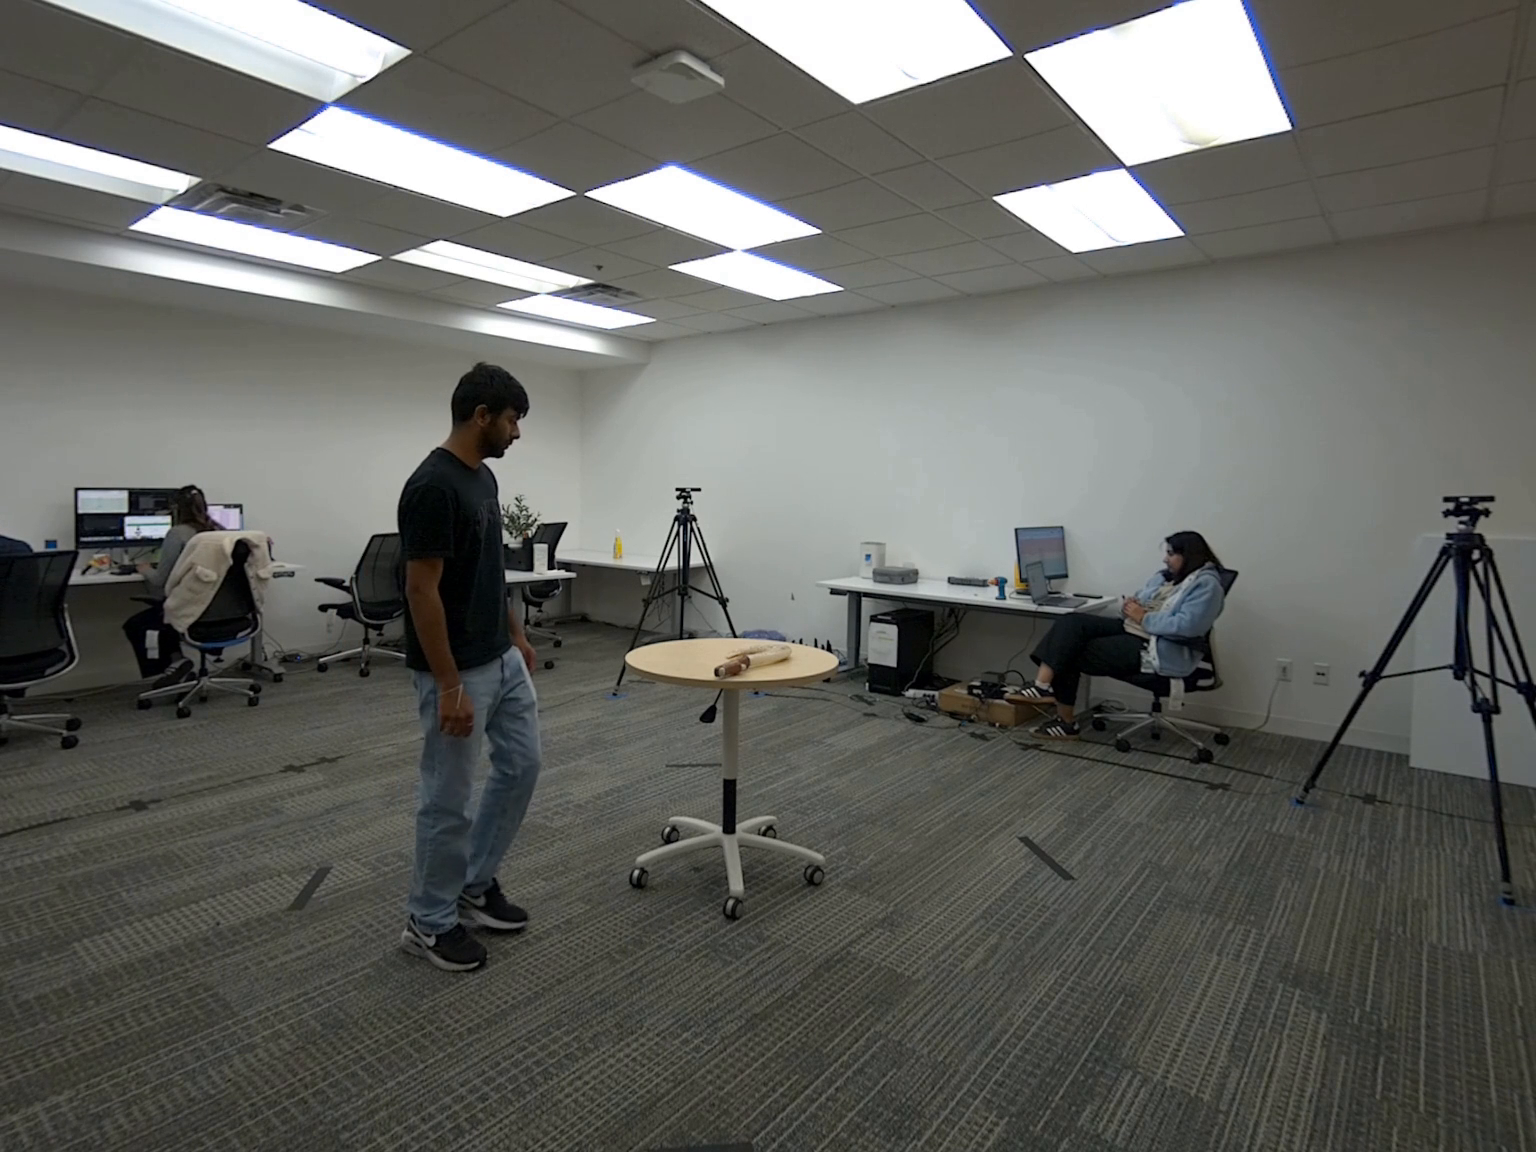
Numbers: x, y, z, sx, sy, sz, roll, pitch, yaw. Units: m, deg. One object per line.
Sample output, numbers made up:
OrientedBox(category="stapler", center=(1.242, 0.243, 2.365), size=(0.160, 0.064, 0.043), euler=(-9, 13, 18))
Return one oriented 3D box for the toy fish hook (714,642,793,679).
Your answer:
OrientedBox(category="toy fish hook", center=(-0.092, 0.290, 2.934), size=(0.230, 0.048, 0.494), euler=(0, 5, 28))
